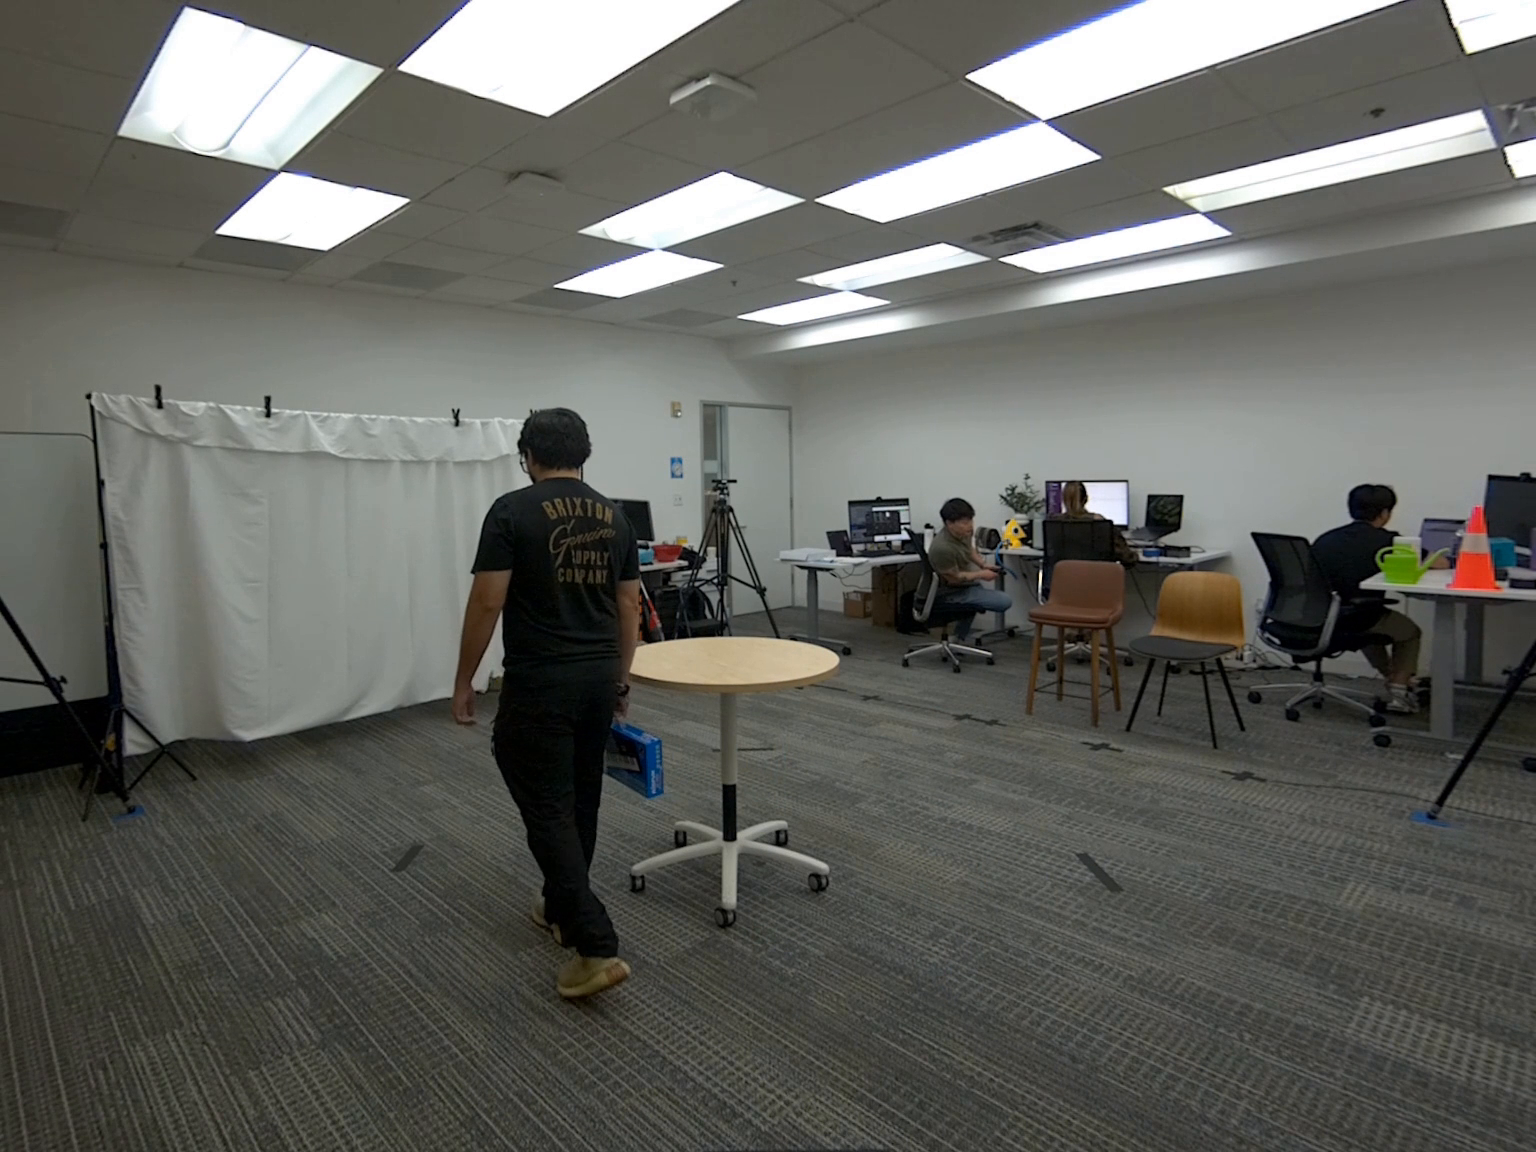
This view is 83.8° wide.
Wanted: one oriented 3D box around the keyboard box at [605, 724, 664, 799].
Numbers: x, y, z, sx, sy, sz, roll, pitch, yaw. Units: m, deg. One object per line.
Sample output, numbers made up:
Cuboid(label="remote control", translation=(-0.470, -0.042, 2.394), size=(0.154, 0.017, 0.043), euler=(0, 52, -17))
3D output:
Cuboid(label="keyboard box", translation=(-0.480, 0.557, 2.738), size=(0.057, 0.175, 0.451), euler=(-6, 10, -39))
